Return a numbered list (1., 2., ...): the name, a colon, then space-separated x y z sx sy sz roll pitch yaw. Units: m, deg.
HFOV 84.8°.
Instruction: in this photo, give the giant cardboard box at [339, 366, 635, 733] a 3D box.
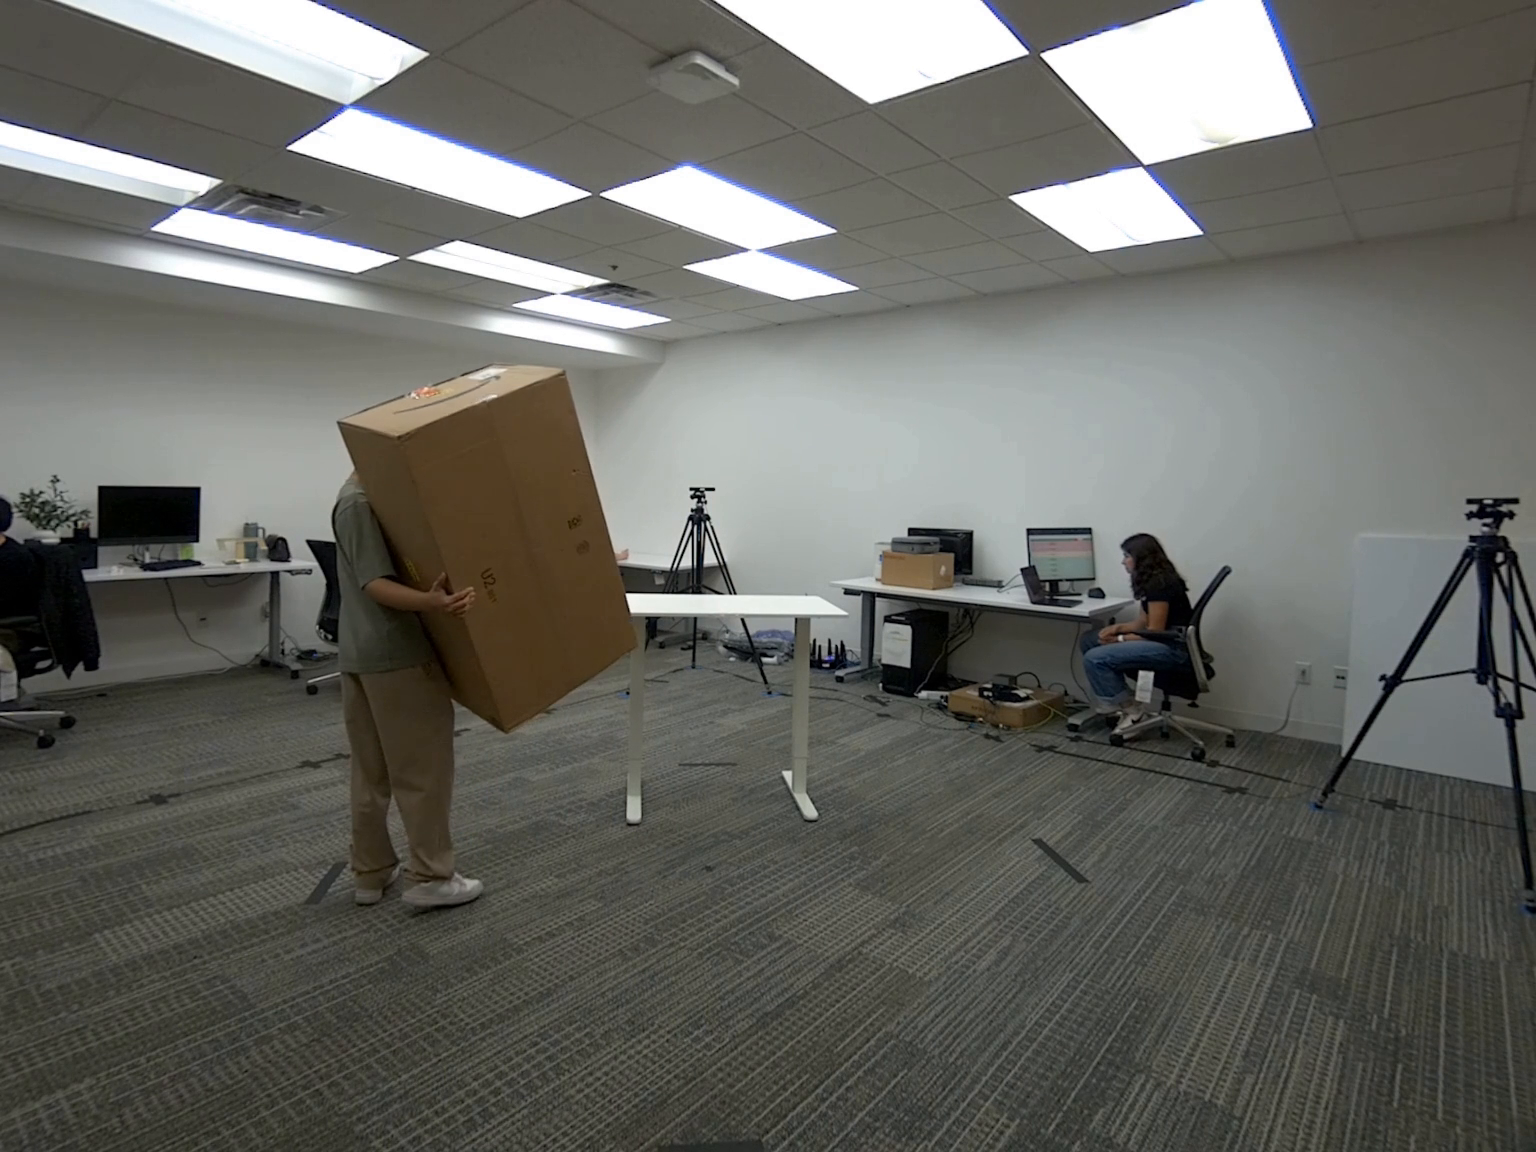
1. giant cardboard box: -0.885 -0.105 2.799 0.442 0.998 0.571 15 36 41
